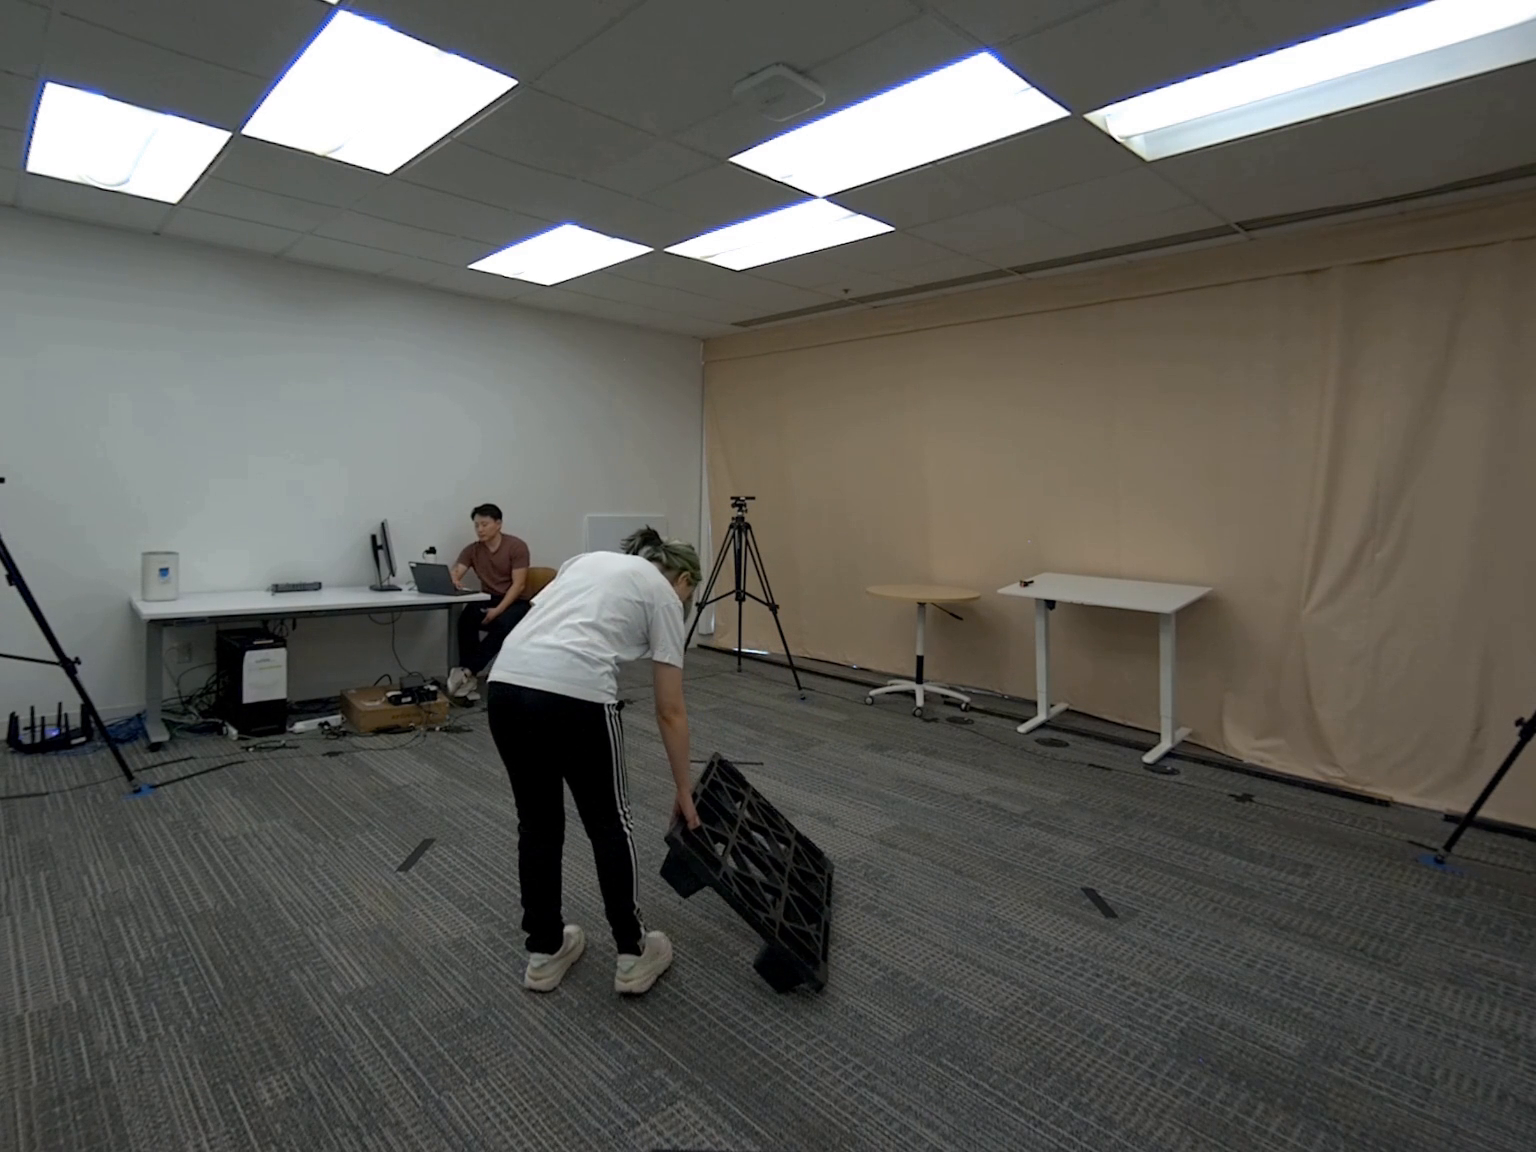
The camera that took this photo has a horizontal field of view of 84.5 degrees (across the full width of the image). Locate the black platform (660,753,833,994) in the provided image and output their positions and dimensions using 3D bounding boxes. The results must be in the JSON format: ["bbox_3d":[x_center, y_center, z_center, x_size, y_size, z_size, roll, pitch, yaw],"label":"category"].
[{"bbox_3d":[-0.061,0.934,2.733,0.607,0.143,0.803,45,8,2],"label":"black platform"}]
